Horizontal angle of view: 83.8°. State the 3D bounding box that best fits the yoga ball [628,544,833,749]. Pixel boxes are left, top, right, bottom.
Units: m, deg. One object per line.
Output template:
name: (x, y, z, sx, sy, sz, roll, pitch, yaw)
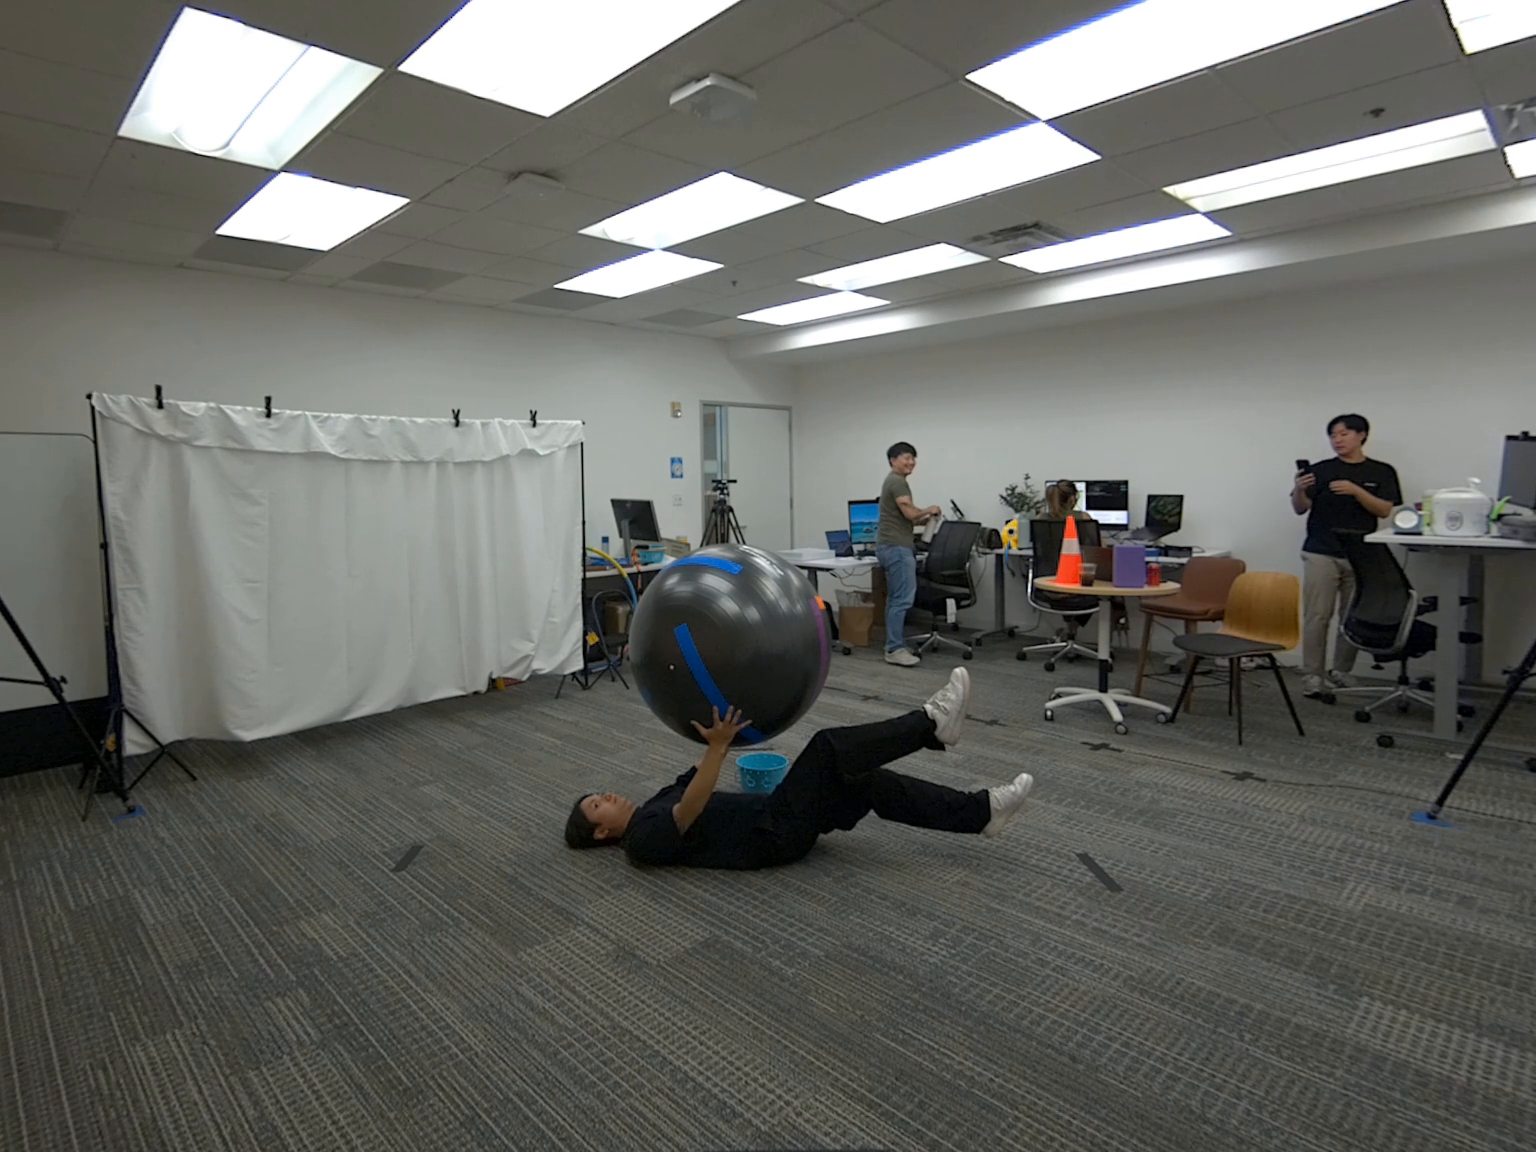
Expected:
yoga ball: (-0.147, 0.264, 3.212, 0.757, 0.755, 0.762, -1, 5, -2)
